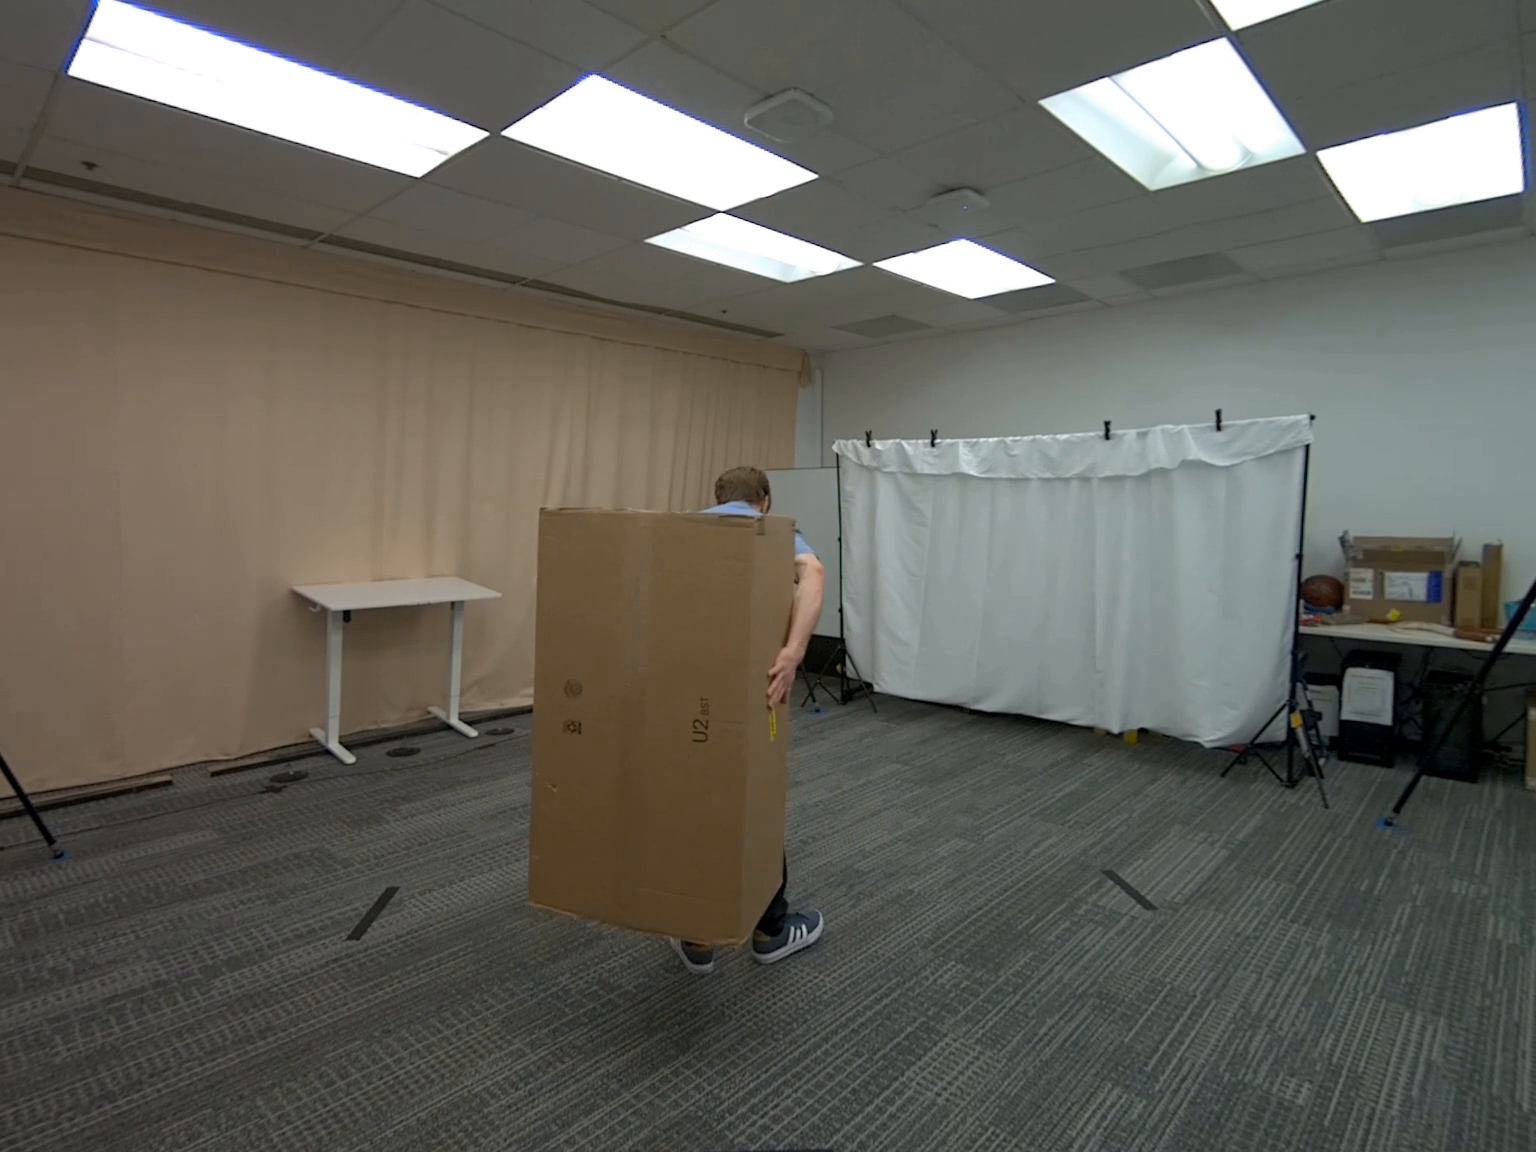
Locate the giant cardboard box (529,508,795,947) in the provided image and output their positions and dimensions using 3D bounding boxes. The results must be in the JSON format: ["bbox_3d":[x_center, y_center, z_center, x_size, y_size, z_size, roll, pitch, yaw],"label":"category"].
[{"bbox_3d":[-0.262,0.346,2.238,0.595,1.026,0.439,3,2,17],"label":"giant cardboard box"}]
